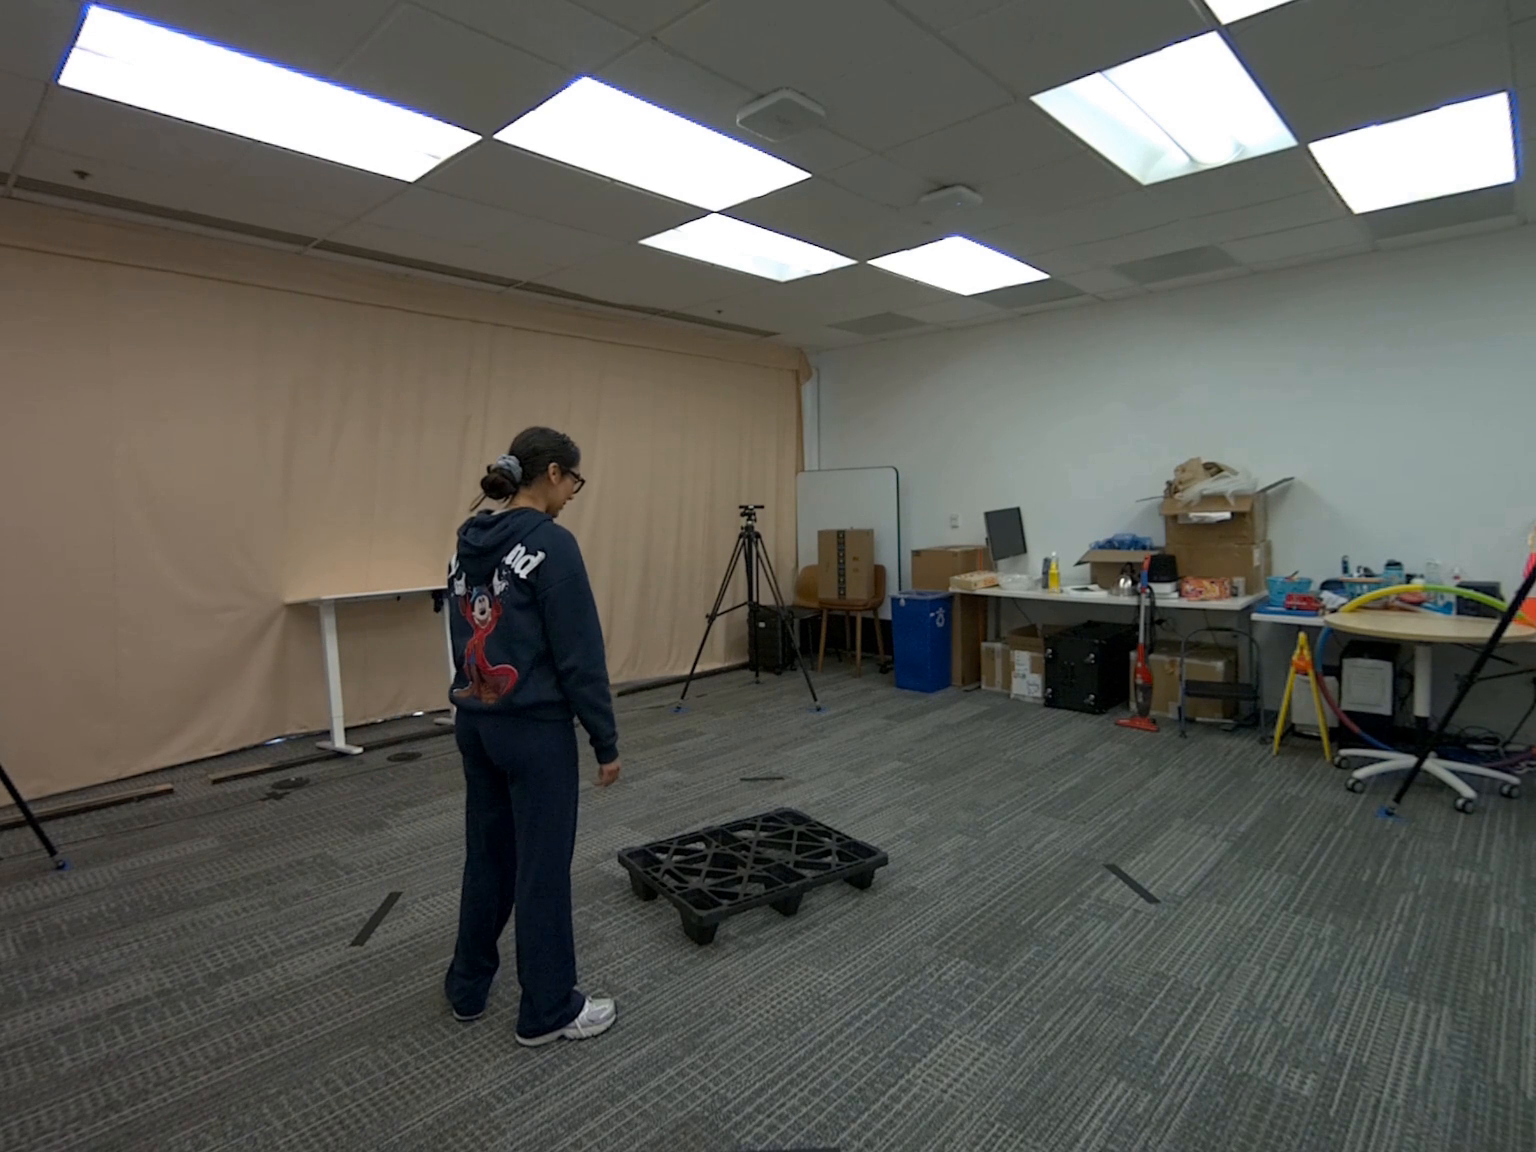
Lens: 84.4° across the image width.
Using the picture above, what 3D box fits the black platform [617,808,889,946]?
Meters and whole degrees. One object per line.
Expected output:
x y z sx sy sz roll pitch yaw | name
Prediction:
-0.060 1.070 3.048 0.783 0.143 0.624 -4 5 -34 | black platform
